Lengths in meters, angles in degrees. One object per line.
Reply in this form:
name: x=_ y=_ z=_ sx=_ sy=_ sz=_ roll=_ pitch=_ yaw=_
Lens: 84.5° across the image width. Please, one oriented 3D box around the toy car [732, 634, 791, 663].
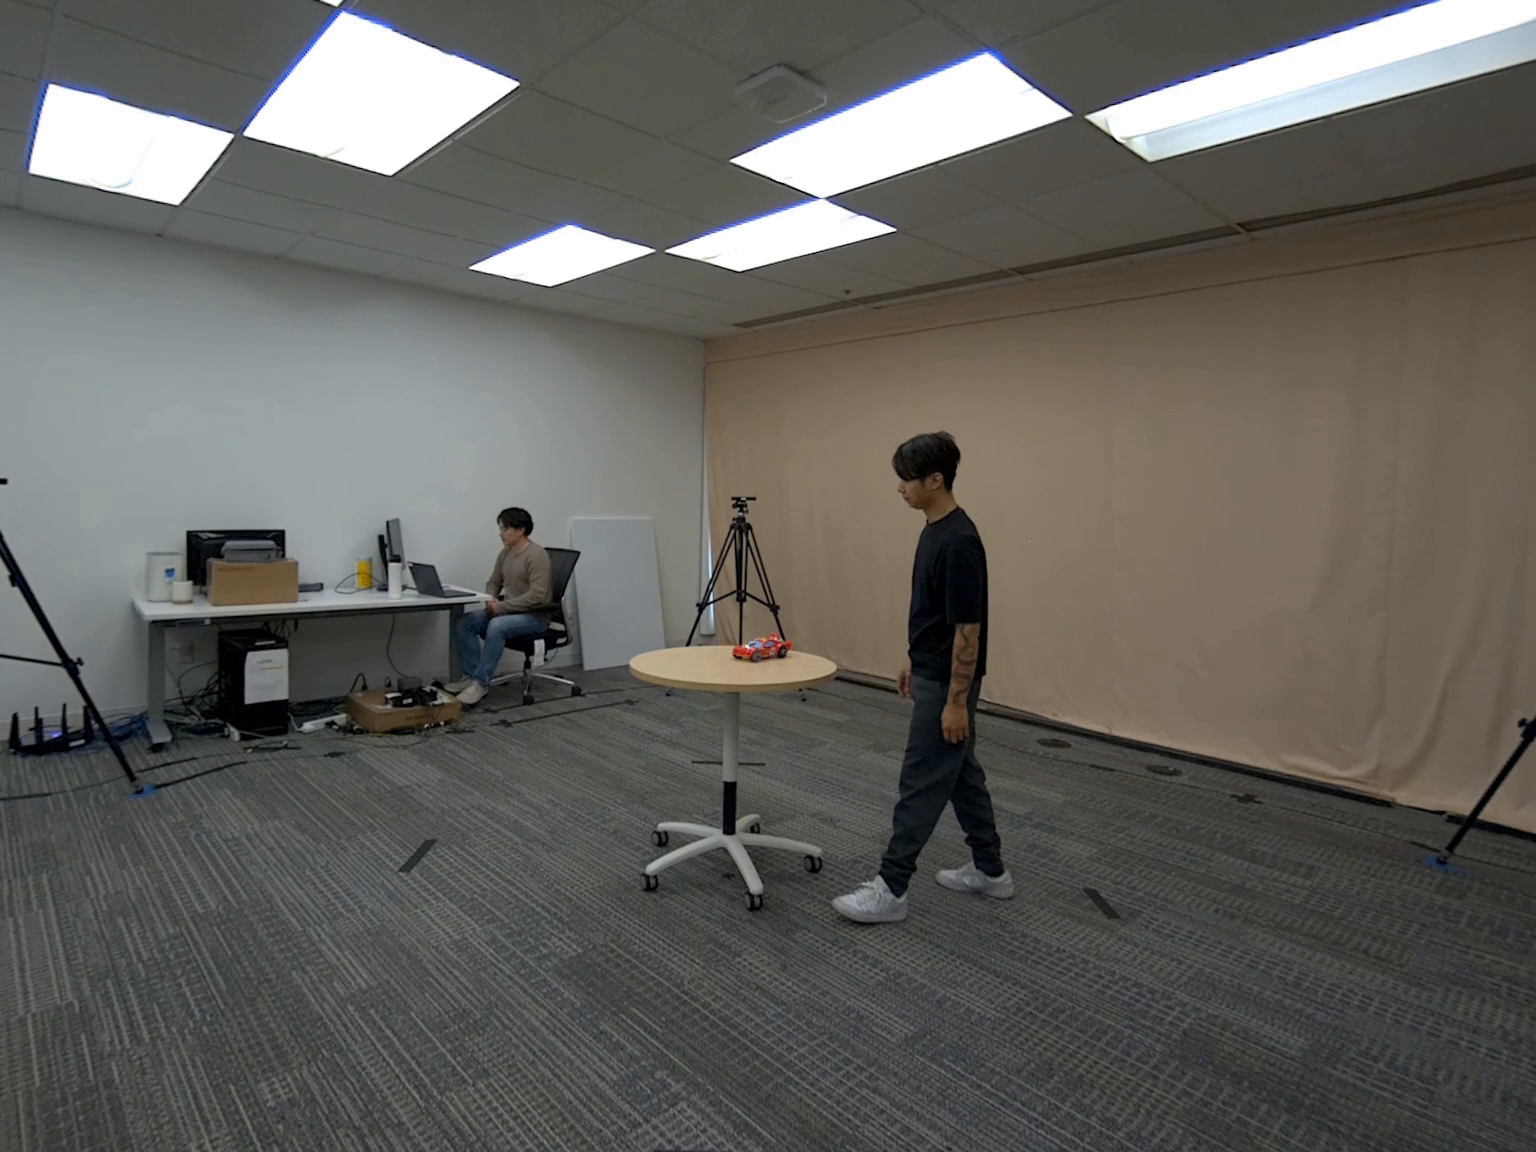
toy car: x=-0.020 y=0.282 z=3.246 sx=0.250 sy=0.082 sz=0.133 roll=-18 pitch=14 yaw=-43
